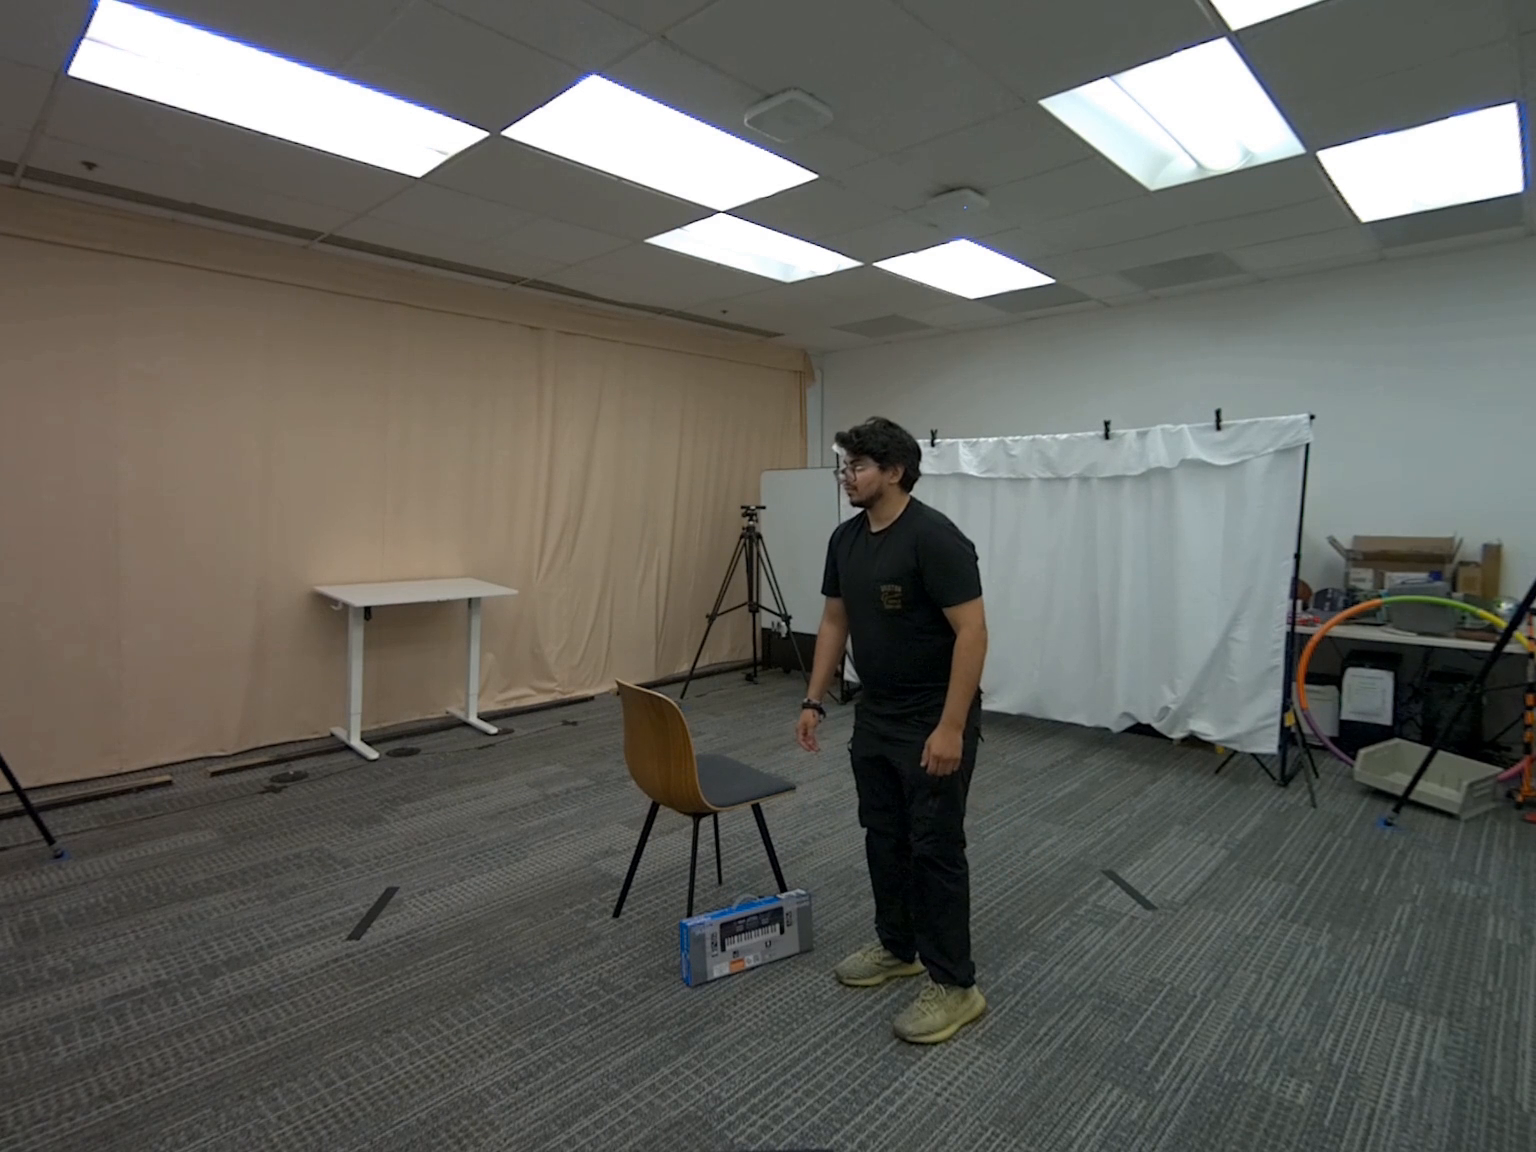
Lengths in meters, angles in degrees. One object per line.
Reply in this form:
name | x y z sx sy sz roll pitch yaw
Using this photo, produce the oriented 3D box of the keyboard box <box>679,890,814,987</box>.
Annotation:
keyboard box | -0.054 1.099 2.554 0.425 0.176 0.060 -2 -2 -30
